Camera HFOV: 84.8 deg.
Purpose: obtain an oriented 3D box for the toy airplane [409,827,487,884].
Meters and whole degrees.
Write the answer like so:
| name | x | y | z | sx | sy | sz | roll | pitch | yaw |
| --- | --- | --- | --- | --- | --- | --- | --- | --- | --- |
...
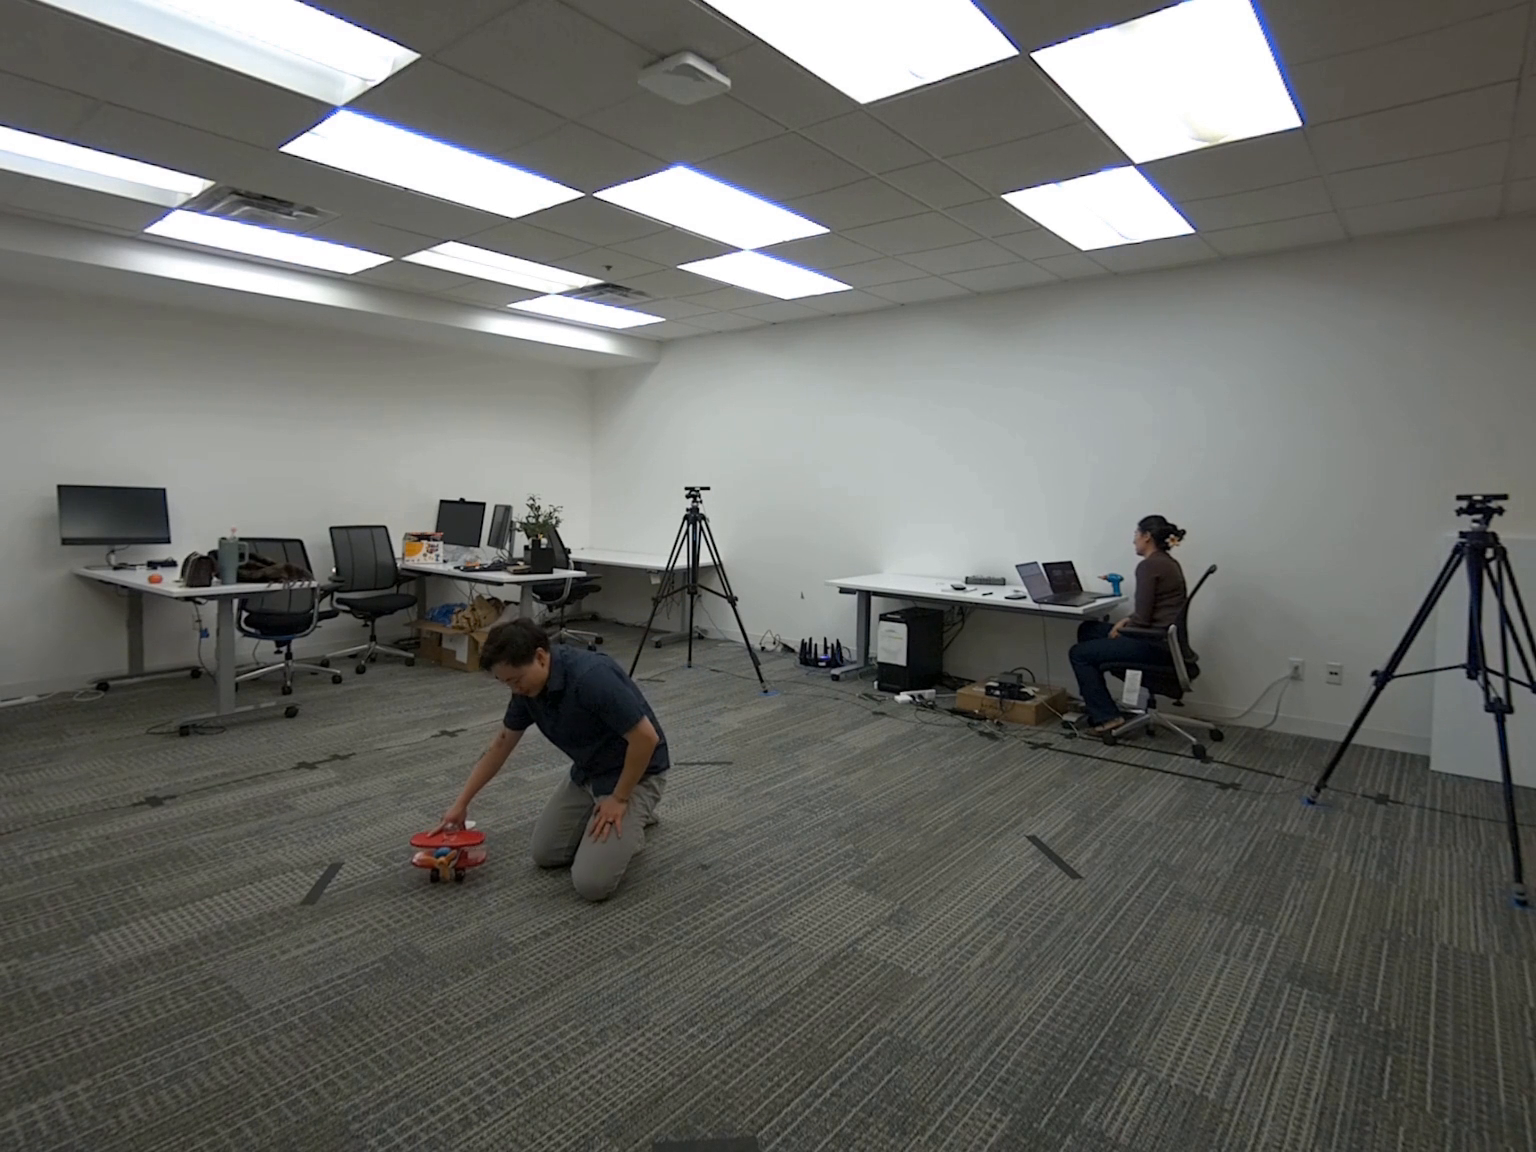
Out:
| name | x | y | z | sx | sy | sz | roll | pitch | yaw |
| --- | --- | --- | --- | --- | --- | --- | --- | --- | --- |
| toy airplane | -1.160 | 0.966 | 3.032 | 0.246 | 0.153 | 0.270 | -15 | 34 | -28 |
